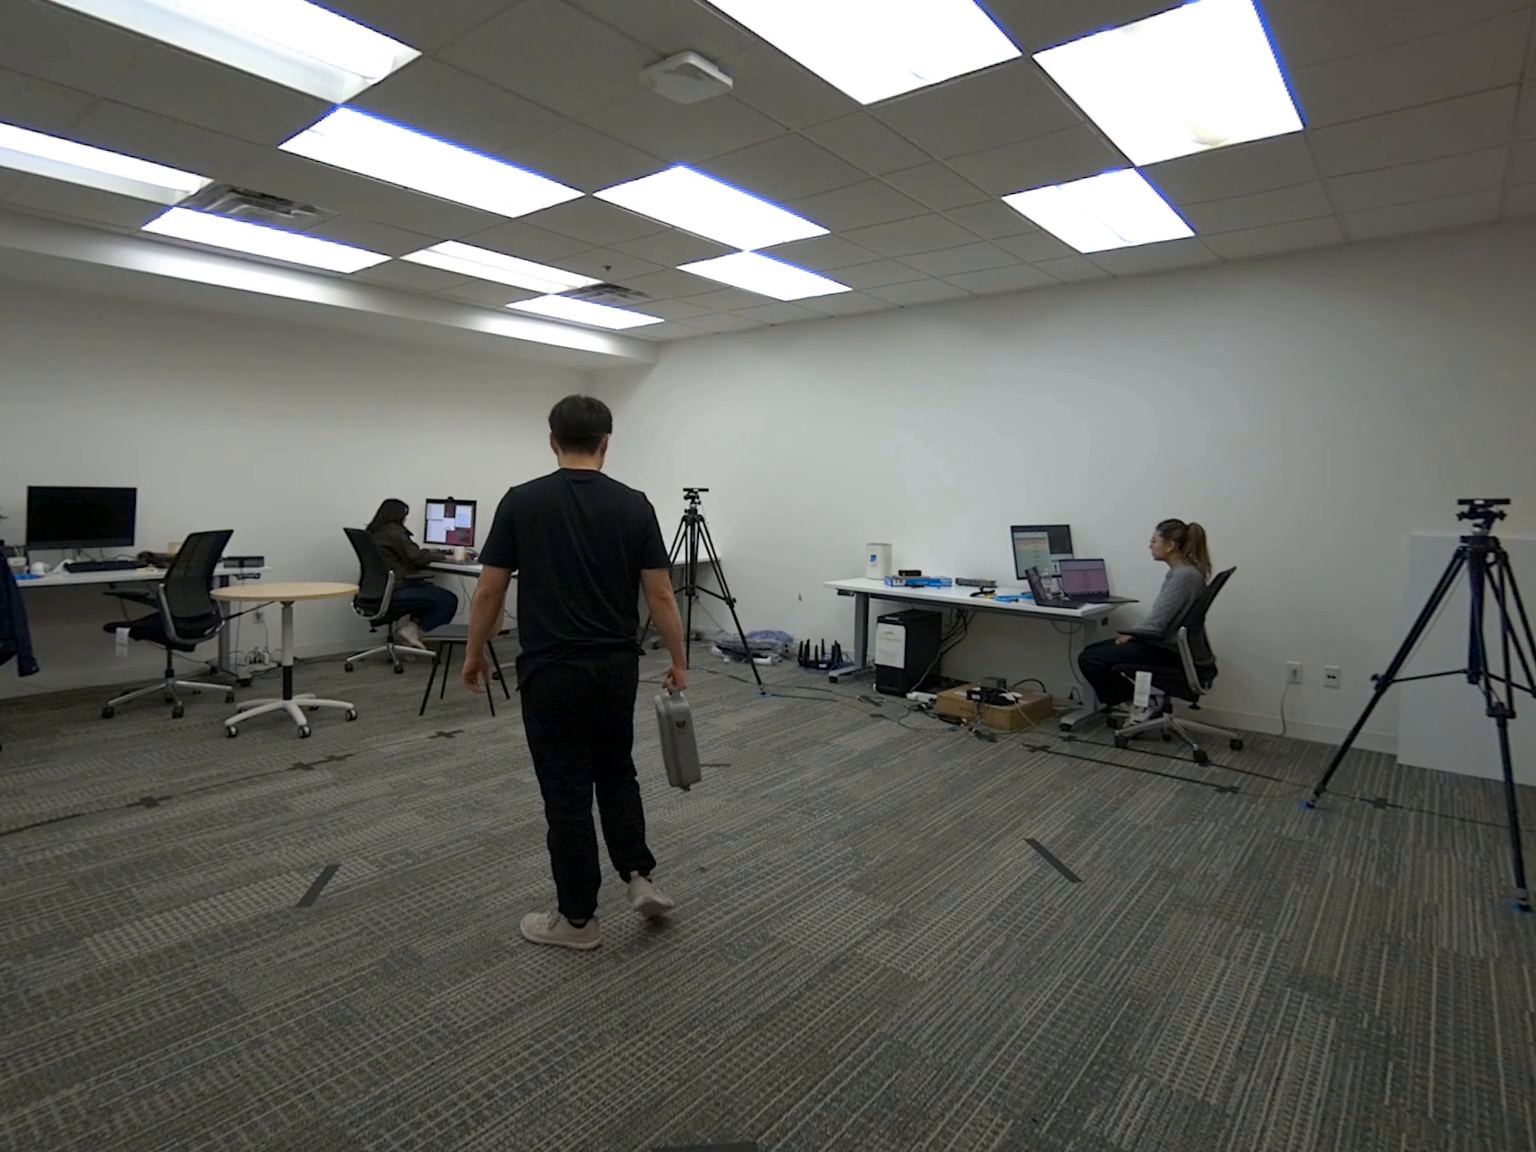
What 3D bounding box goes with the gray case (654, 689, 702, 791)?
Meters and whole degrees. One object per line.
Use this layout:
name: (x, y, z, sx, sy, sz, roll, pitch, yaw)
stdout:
gray case: (-0.299, 0.505, 2.691, 0.103, 0.260, 0.260, -6, 4, -9)
